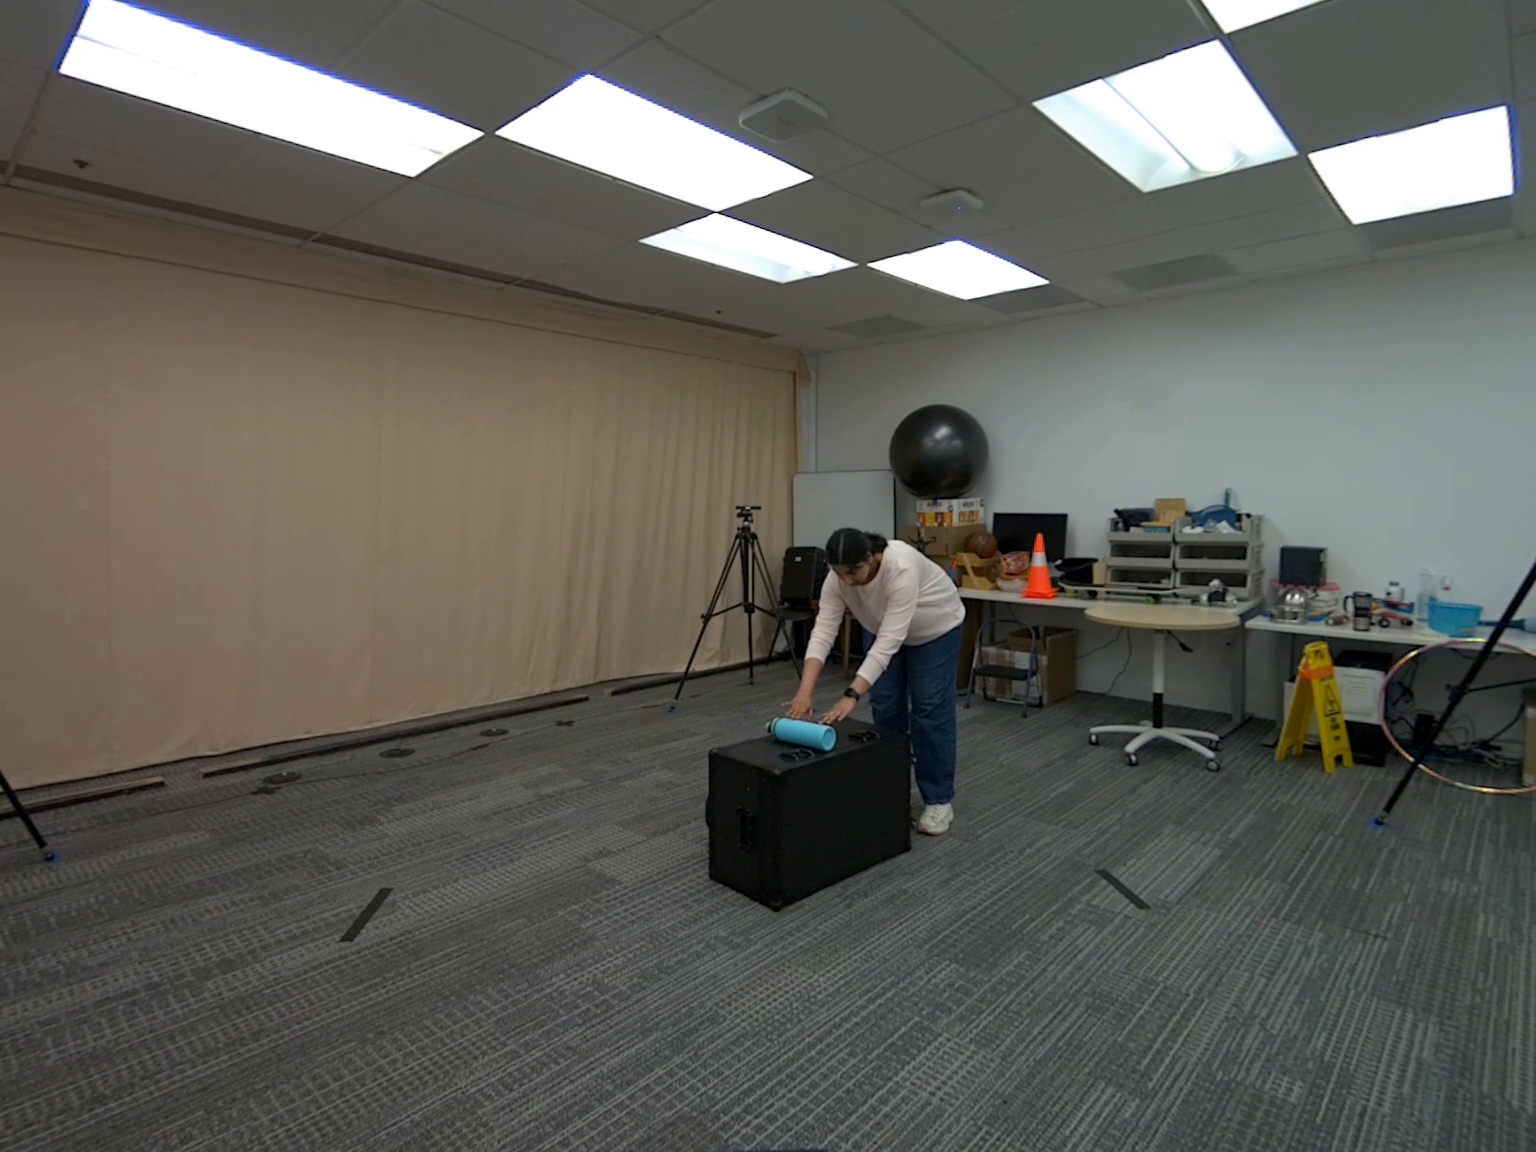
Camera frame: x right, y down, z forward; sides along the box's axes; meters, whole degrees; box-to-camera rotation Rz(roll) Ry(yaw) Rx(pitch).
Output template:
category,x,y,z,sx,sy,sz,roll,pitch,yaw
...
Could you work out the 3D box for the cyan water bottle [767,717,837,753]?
category,x,y,z,sx,sy,sz,roll,pitch,yaw
cyan water bottle,0.121,0.595,3.207,0.293,0.092,0.089,2,4,42
